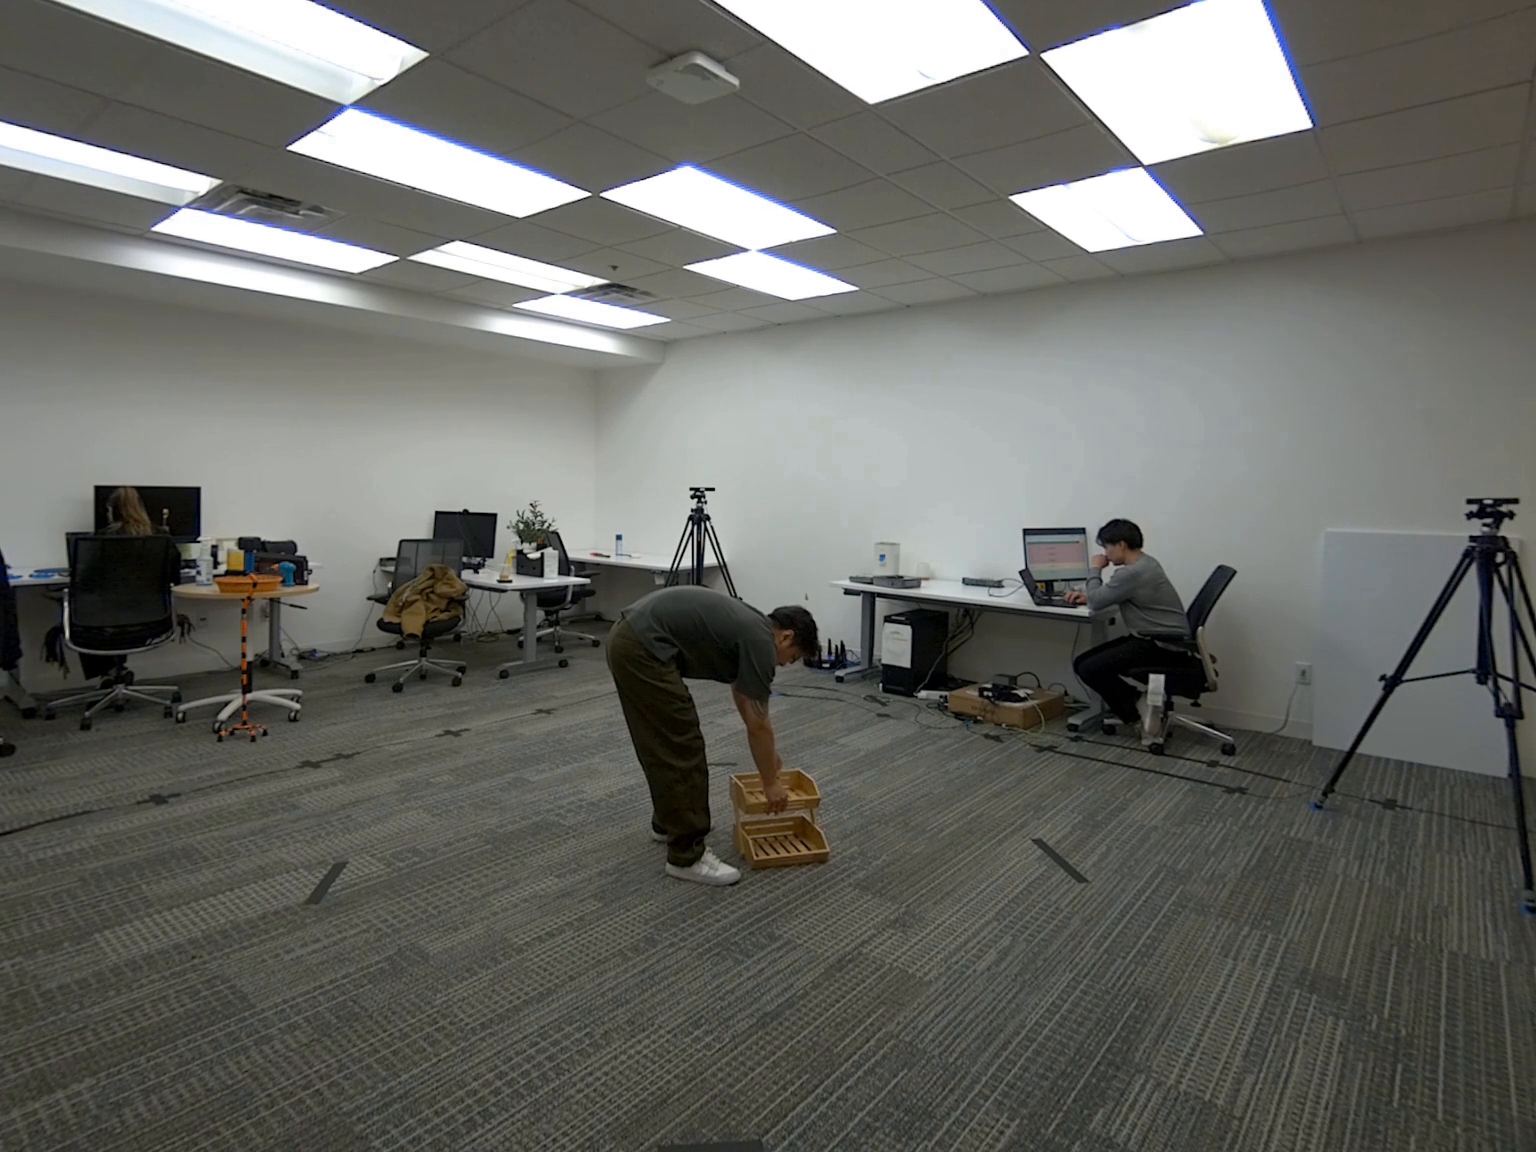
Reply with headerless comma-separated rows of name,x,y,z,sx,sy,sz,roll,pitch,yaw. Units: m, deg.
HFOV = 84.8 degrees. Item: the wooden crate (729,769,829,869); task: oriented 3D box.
wooden crate,0.042,0.927,3.261,0.318,0.272,0.309,1,4,-19
